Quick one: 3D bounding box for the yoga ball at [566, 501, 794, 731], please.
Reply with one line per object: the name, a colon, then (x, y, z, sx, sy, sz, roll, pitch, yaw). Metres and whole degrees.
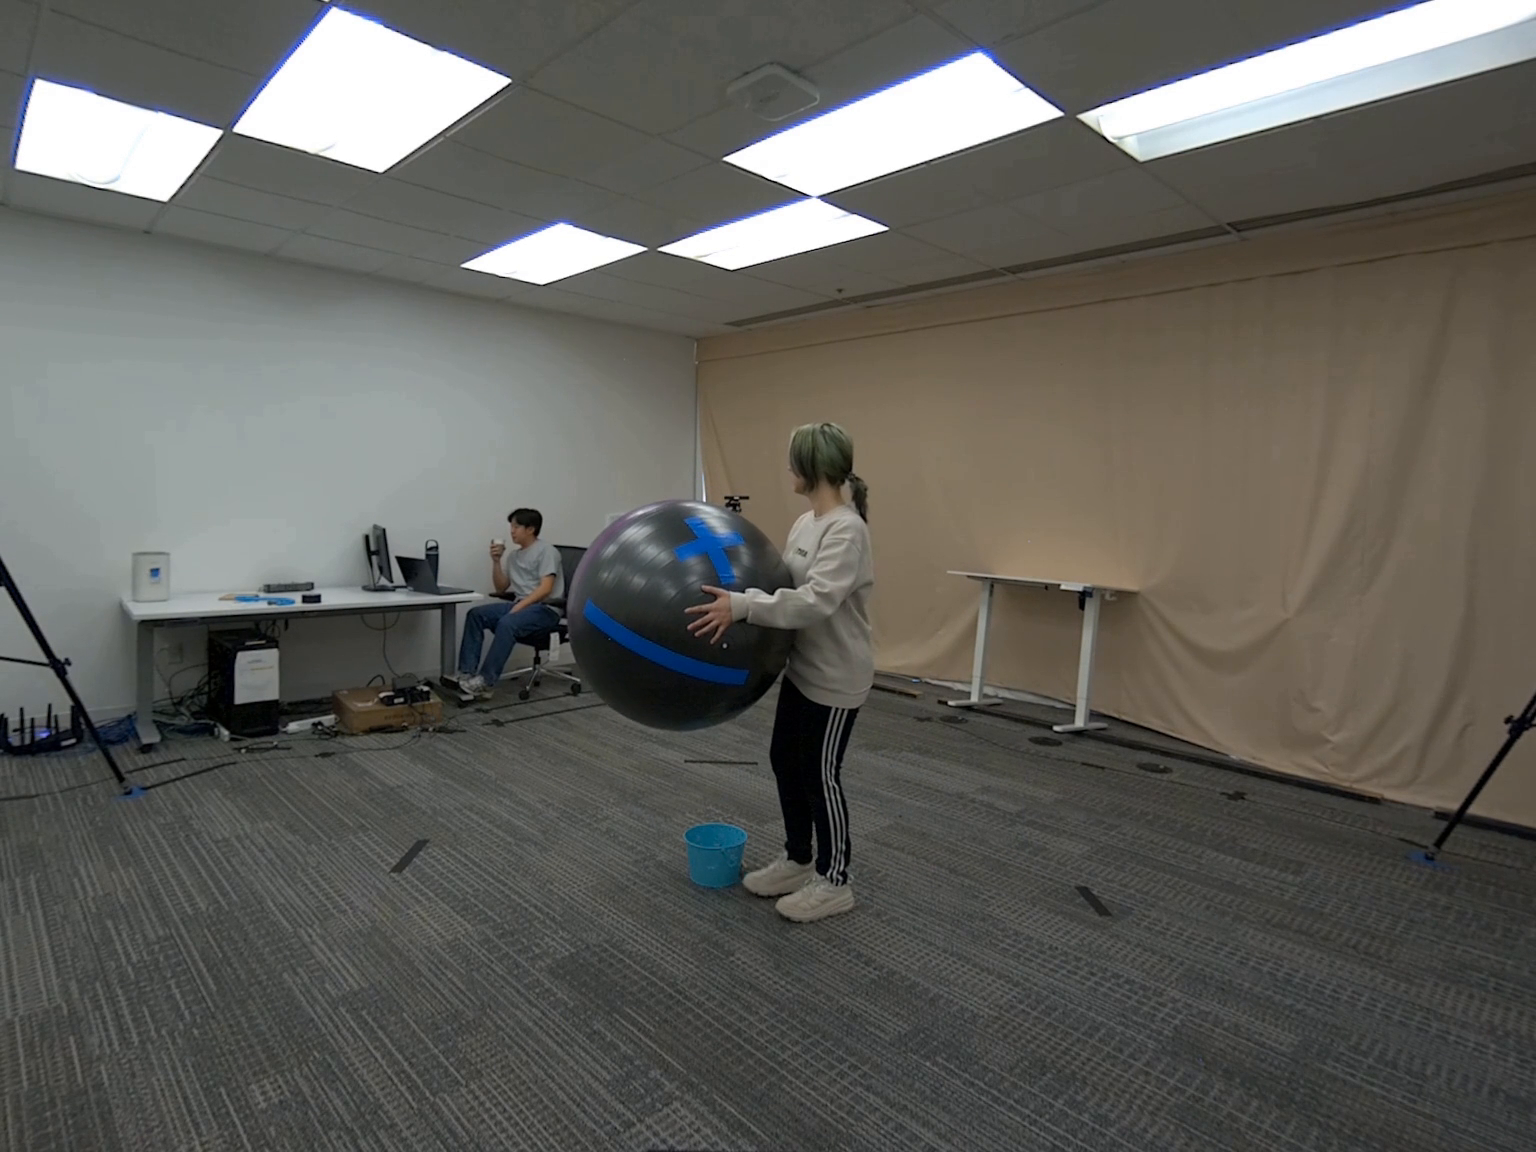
yoga ball: (-0.297, 0.133, 2.792, 0.757, 0.756, 0.761, 1, 4, -1)
